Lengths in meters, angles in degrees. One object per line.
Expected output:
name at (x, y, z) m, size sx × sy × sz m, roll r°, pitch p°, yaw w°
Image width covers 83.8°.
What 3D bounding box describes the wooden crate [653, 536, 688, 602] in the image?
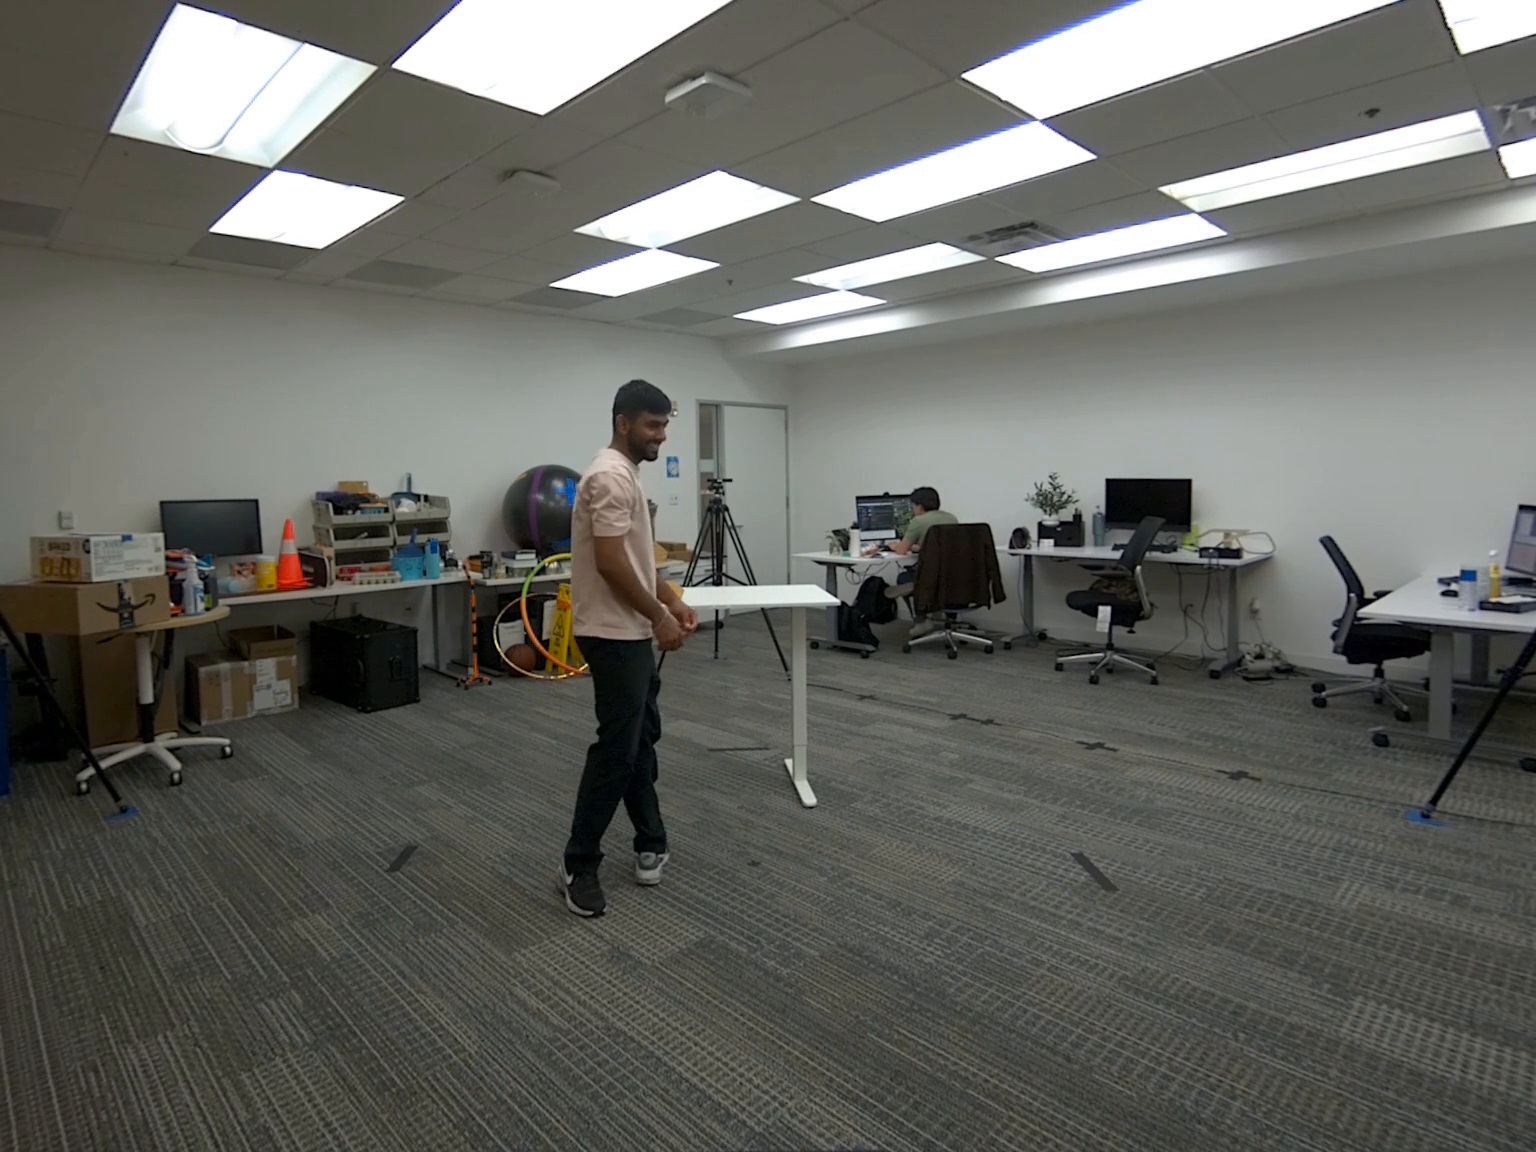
wooden crate at (-0.569, -0.024, 3.658) m, size 0.334 × 0.272 × 0.294 m, roll 4°, pitch 8°, yaw 43°
